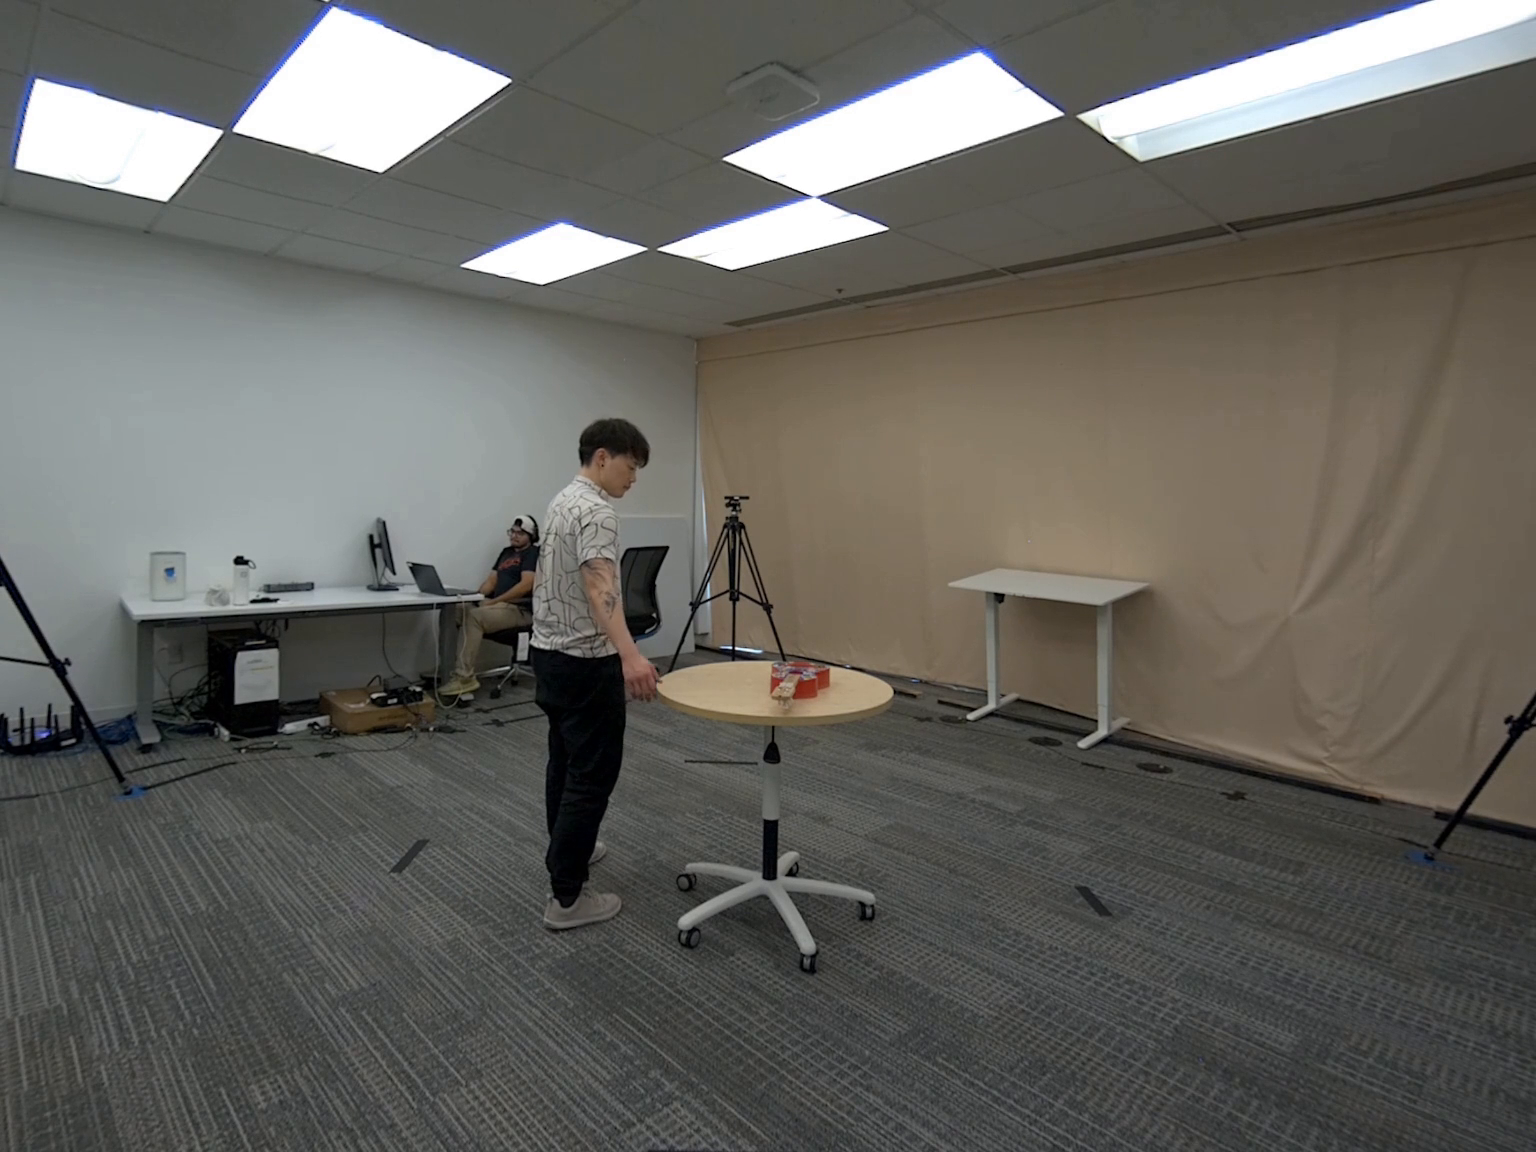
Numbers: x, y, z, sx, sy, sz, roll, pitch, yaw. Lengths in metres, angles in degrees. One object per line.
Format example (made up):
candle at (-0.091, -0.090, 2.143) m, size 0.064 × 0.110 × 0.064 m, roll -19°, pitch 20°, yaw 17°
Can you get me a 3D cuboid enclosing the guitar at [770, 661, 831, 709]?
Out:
guitar at (0.036, 0.340, 2.581) m, size 0.196 × 0.070 × 0.491 m, roll 4°, pitch 6°, yaw 20°
